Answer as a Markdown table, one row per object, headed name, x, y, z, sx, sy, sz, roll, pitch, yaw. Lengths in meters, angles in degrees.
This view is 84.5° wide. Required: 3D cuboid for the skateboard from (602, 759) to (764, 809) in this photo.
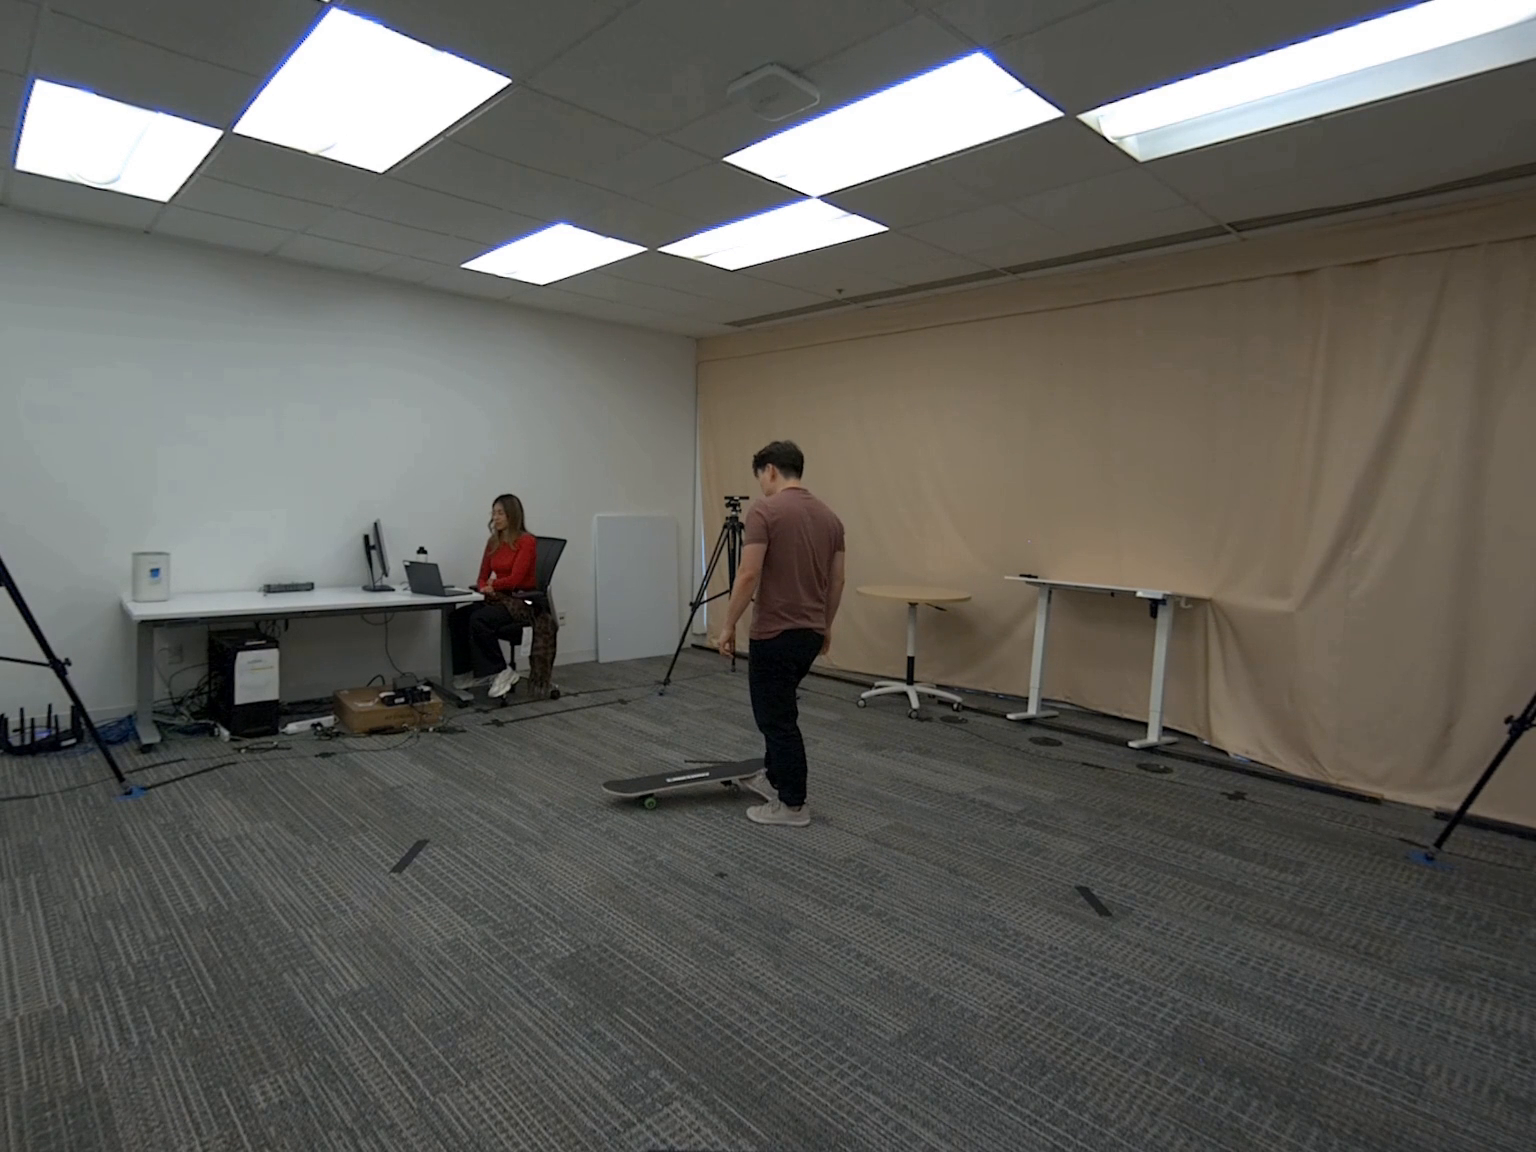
| name | x | y | z | sx | sy | sz | roll | pitch | yaw |
| --- | --- | --- | --- | --- | --- | --- | --- | --- | --- |
| skateboard | -0.374 | 0.957 | 3.875 | 0.776 | 0.110 | 0.196 | -4 | 7 | -16 |
